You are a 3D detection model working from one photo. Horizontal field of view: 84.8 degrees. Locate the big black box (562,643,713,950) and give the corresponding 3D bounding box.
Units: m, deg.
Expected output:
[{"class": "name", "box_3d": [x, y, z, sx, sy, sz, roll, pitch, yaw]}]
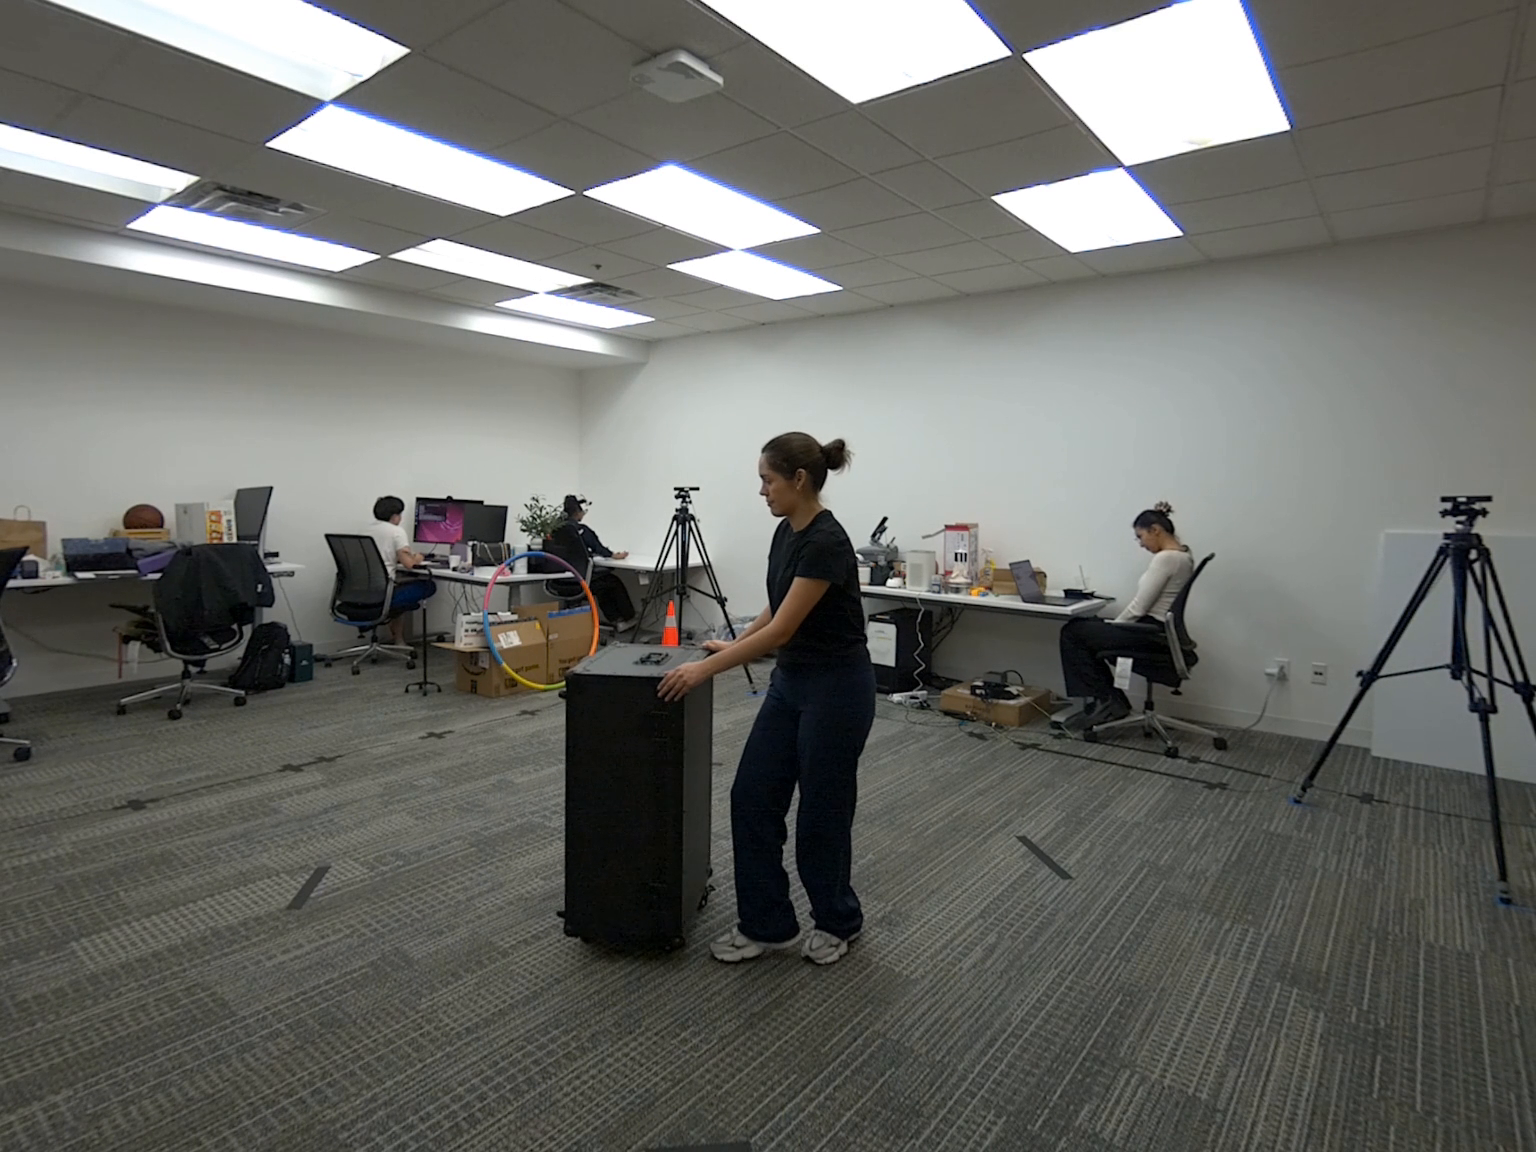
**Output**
[{"class": "big black box", "box_3d": [-0.394, 0.681, 2.689, 0.401, 0.859, 0.517, 1, 3, 9]}]
